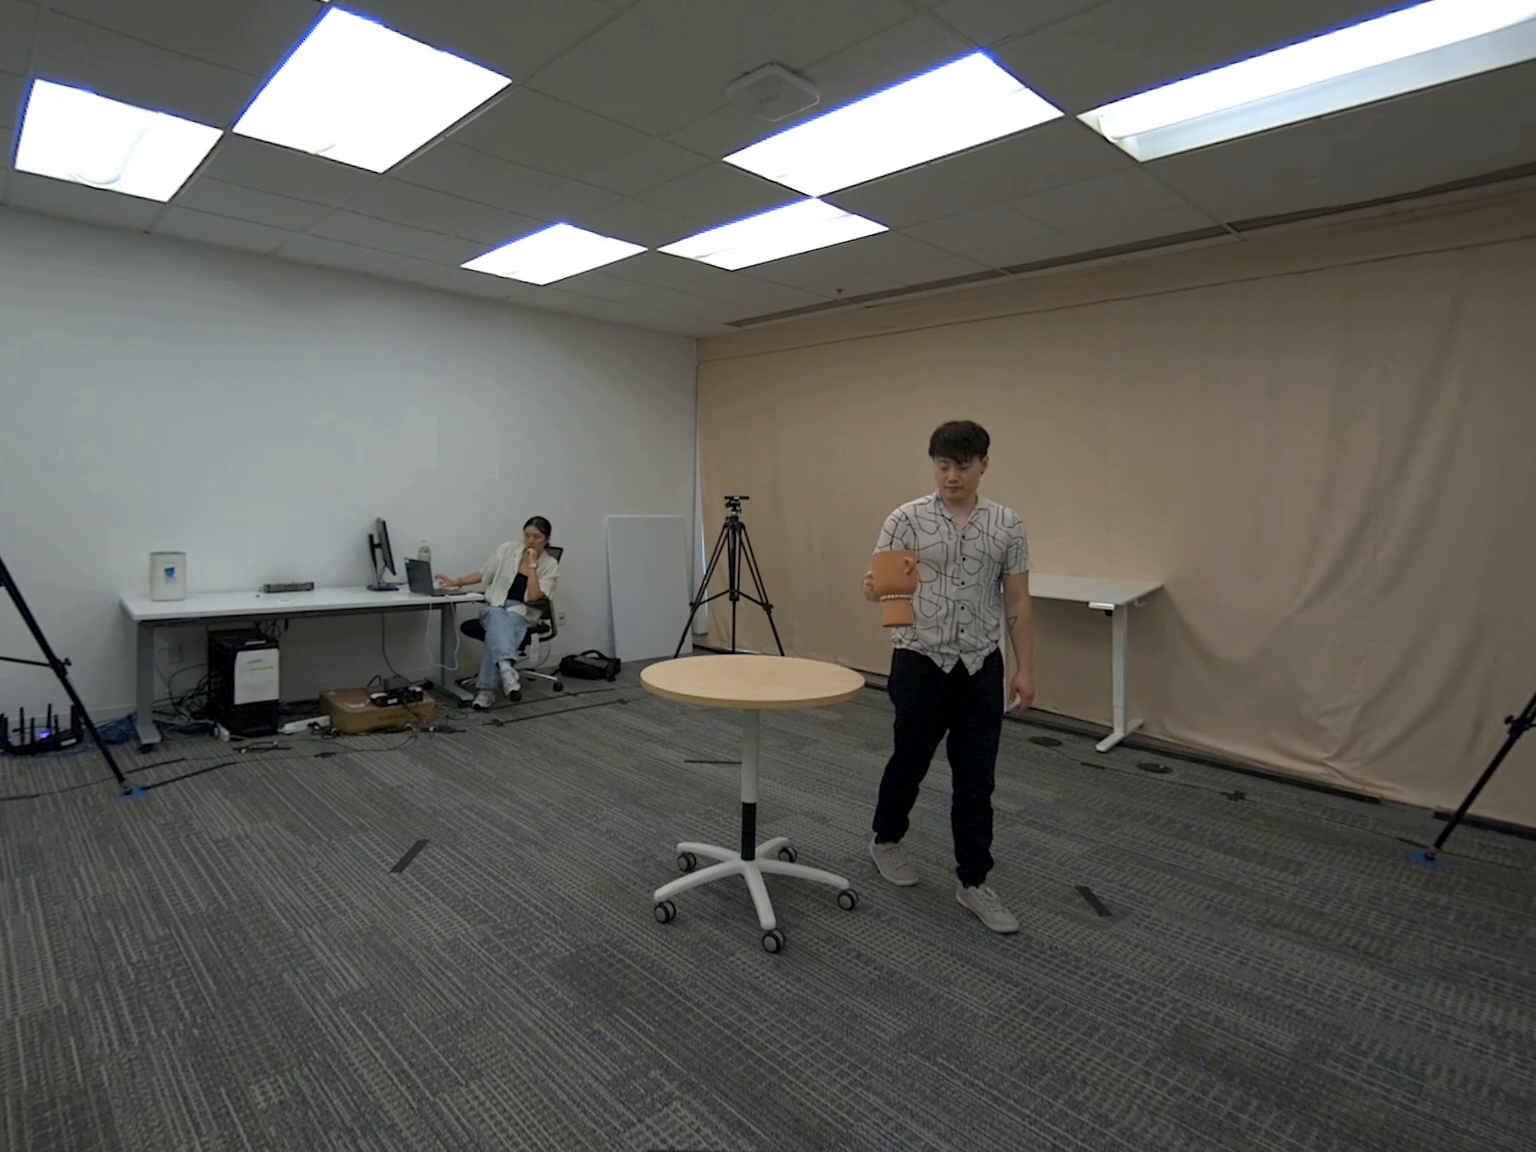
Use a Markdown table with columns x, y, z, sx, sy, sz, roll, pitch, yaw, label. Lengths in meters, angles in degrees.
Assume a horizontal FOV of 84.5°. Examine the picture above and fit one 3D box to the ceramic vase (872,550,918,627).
| x | y | z | sx | sy | sz | roll | pitch | yaw | label |
| --- | --- | --- | --- | --- | --- | --- | --- | --- | --- |
| 0.390 | 0.040 | 2.561 | 0.136 | 0.221 | 0.155 | -6 | -10 | 18 | ceramic vase |
